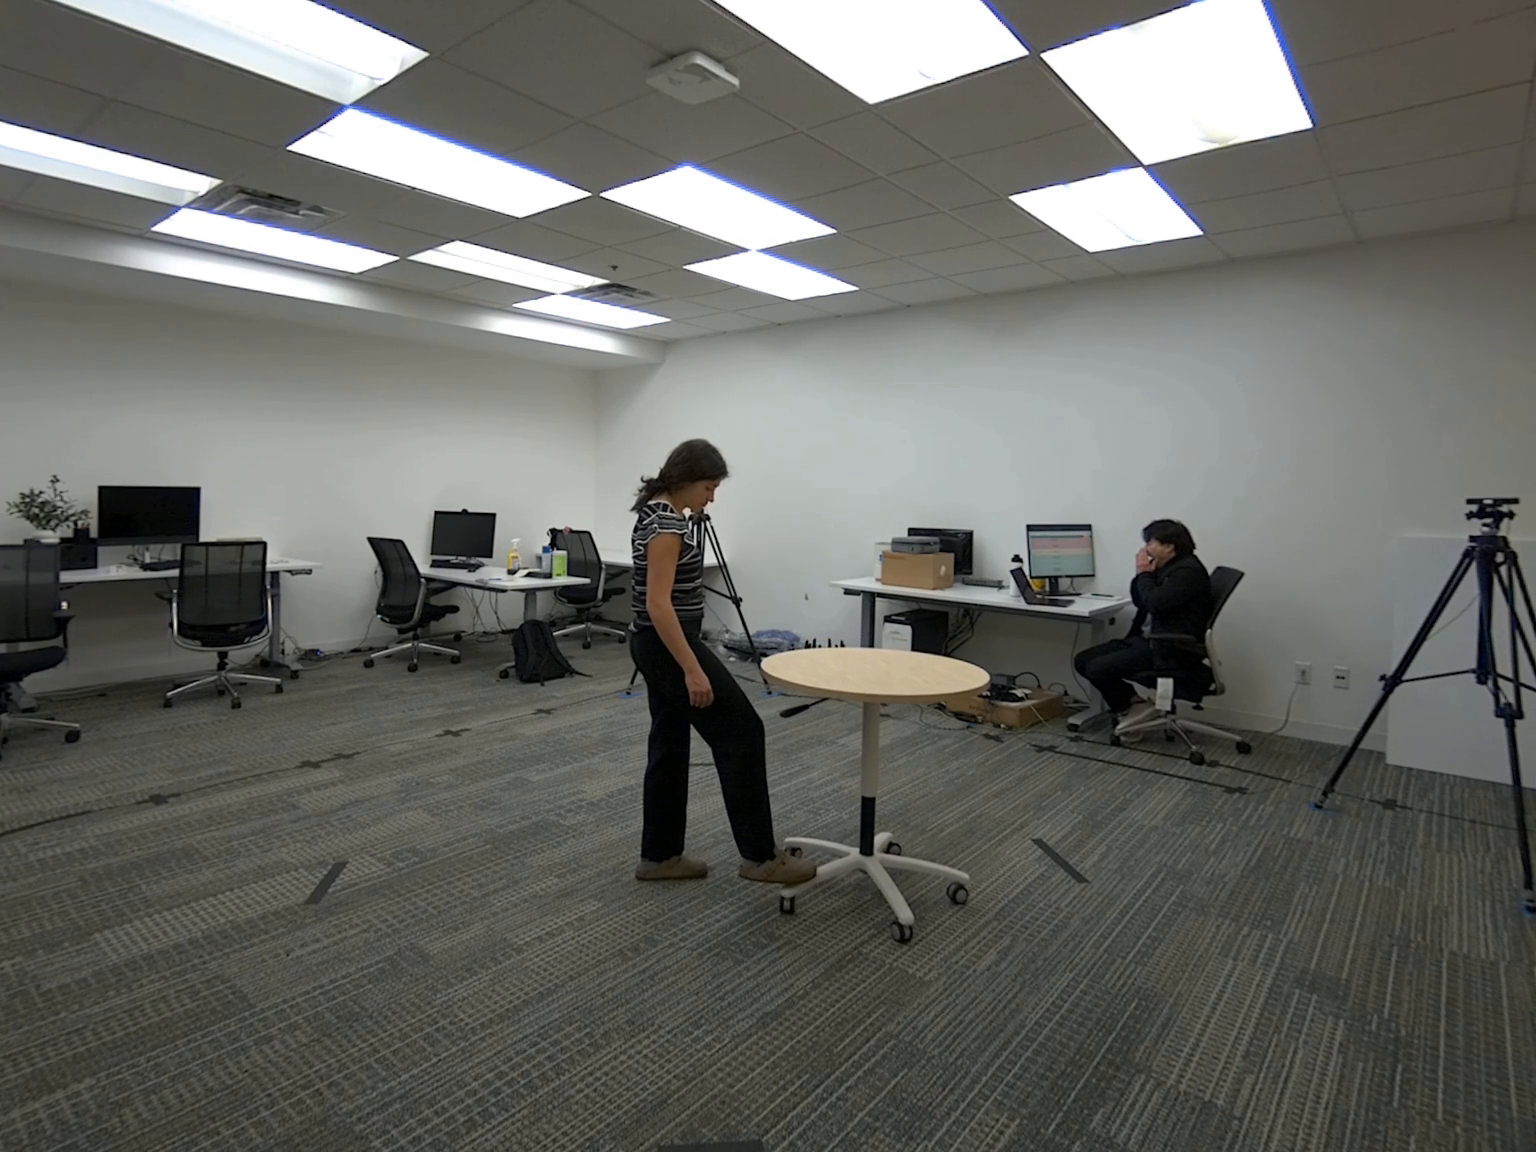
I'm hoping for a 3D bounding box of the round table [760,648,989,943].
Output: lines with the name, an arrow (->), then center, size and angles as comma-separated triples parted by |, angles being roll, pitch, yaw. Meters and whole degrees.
round table -> 0.352, 0.707, 2.926 | 0.784, 0.784, 0.789 | 1, 4, -2
